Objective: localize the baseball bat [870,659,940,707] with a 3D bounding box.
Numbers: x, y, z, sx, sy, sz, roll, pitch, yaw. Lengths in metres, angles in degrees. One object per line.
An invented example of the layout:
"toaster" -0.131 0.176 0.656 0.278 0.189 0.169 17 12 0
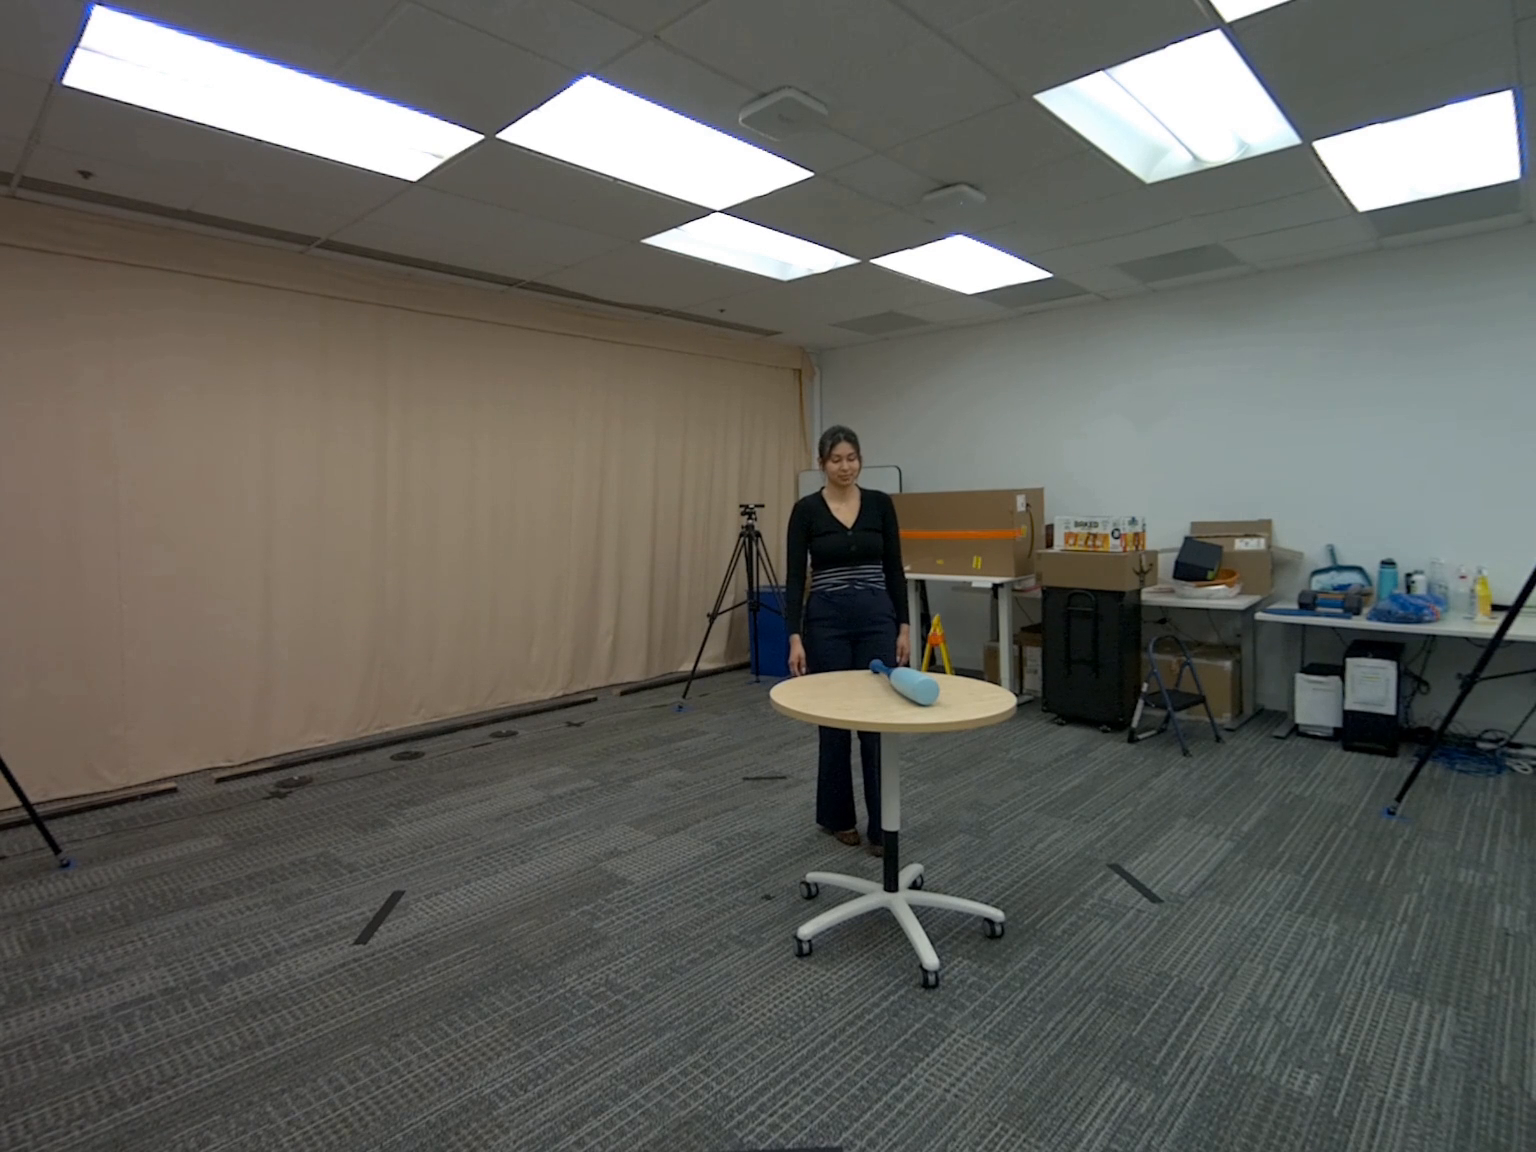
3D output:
"baseball bat" 0.431 0.331 2.751 0.088 0.089 0.547 -1 2 -8
